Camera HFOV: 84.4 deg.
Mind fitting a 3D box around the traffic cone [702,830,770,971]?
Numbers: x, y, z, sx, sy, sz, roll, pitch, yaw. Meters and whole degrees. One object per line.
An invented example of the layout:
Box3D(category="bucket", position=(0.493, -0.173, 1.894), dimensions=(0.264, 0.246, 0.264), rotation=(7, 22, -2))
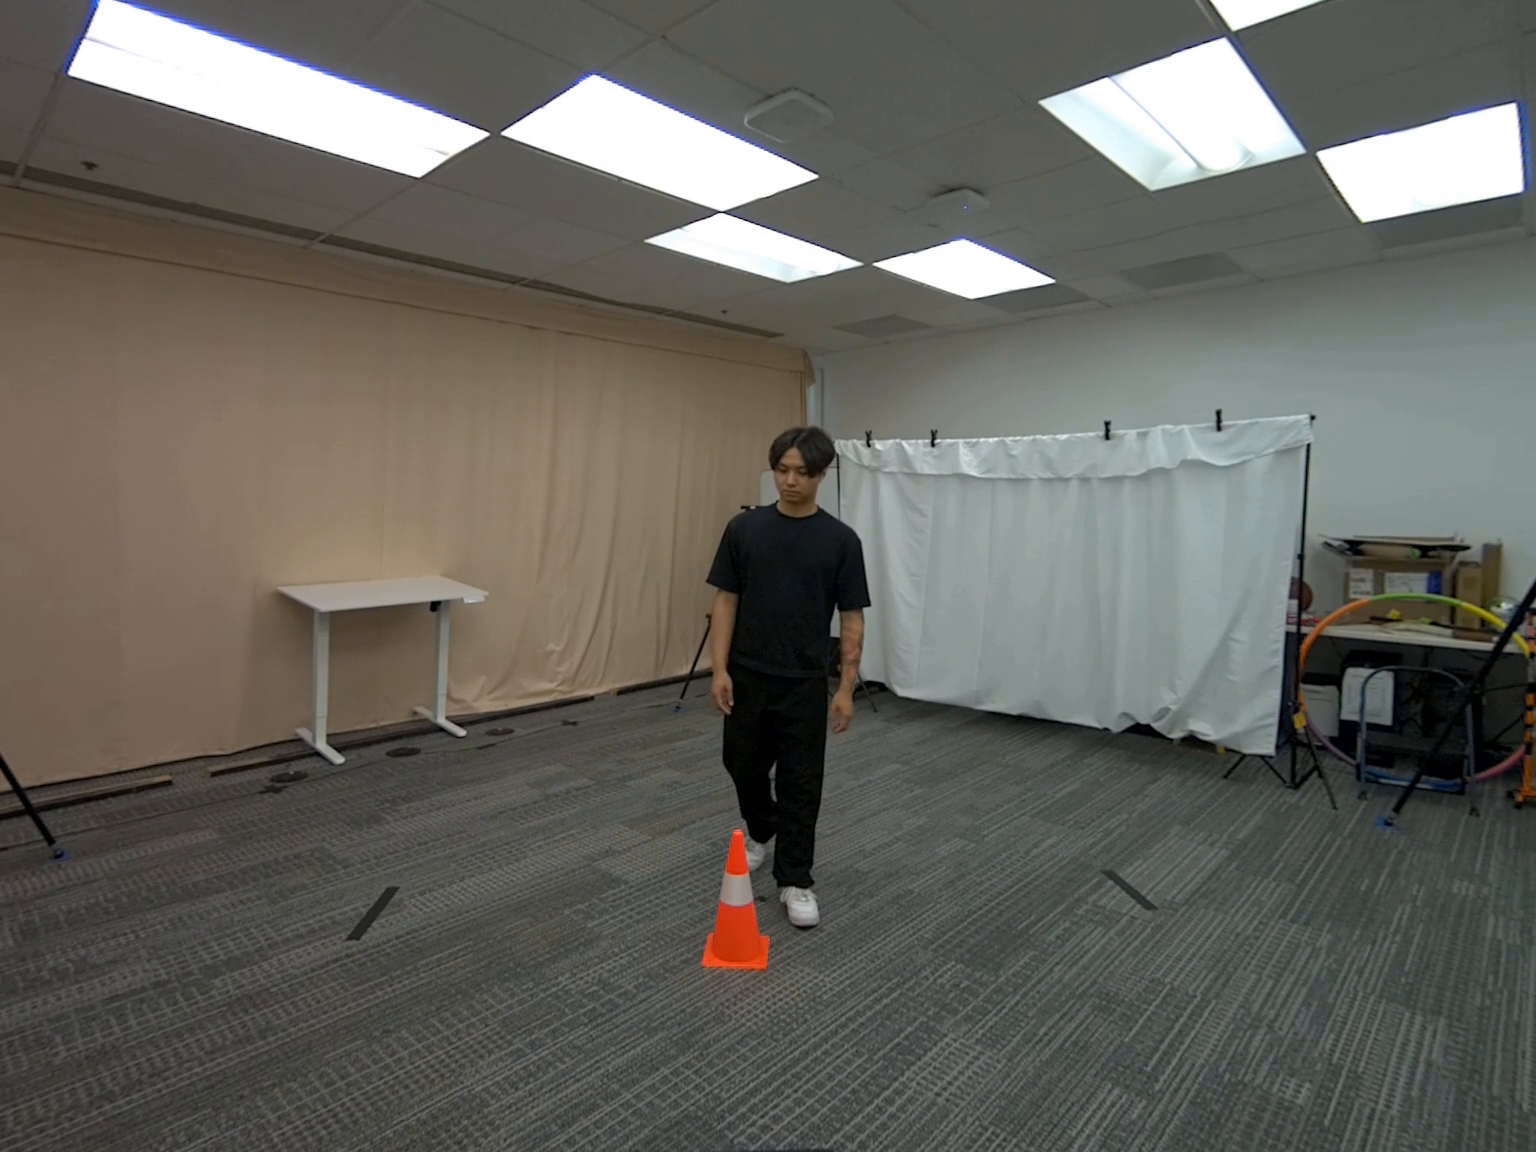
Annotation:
Box3D(category="traffic cone", position=(-0.110, 0.983, 2.637), dimensions=(0.207, 0.383, 0.202), rotation=(-1, 1, 8))
